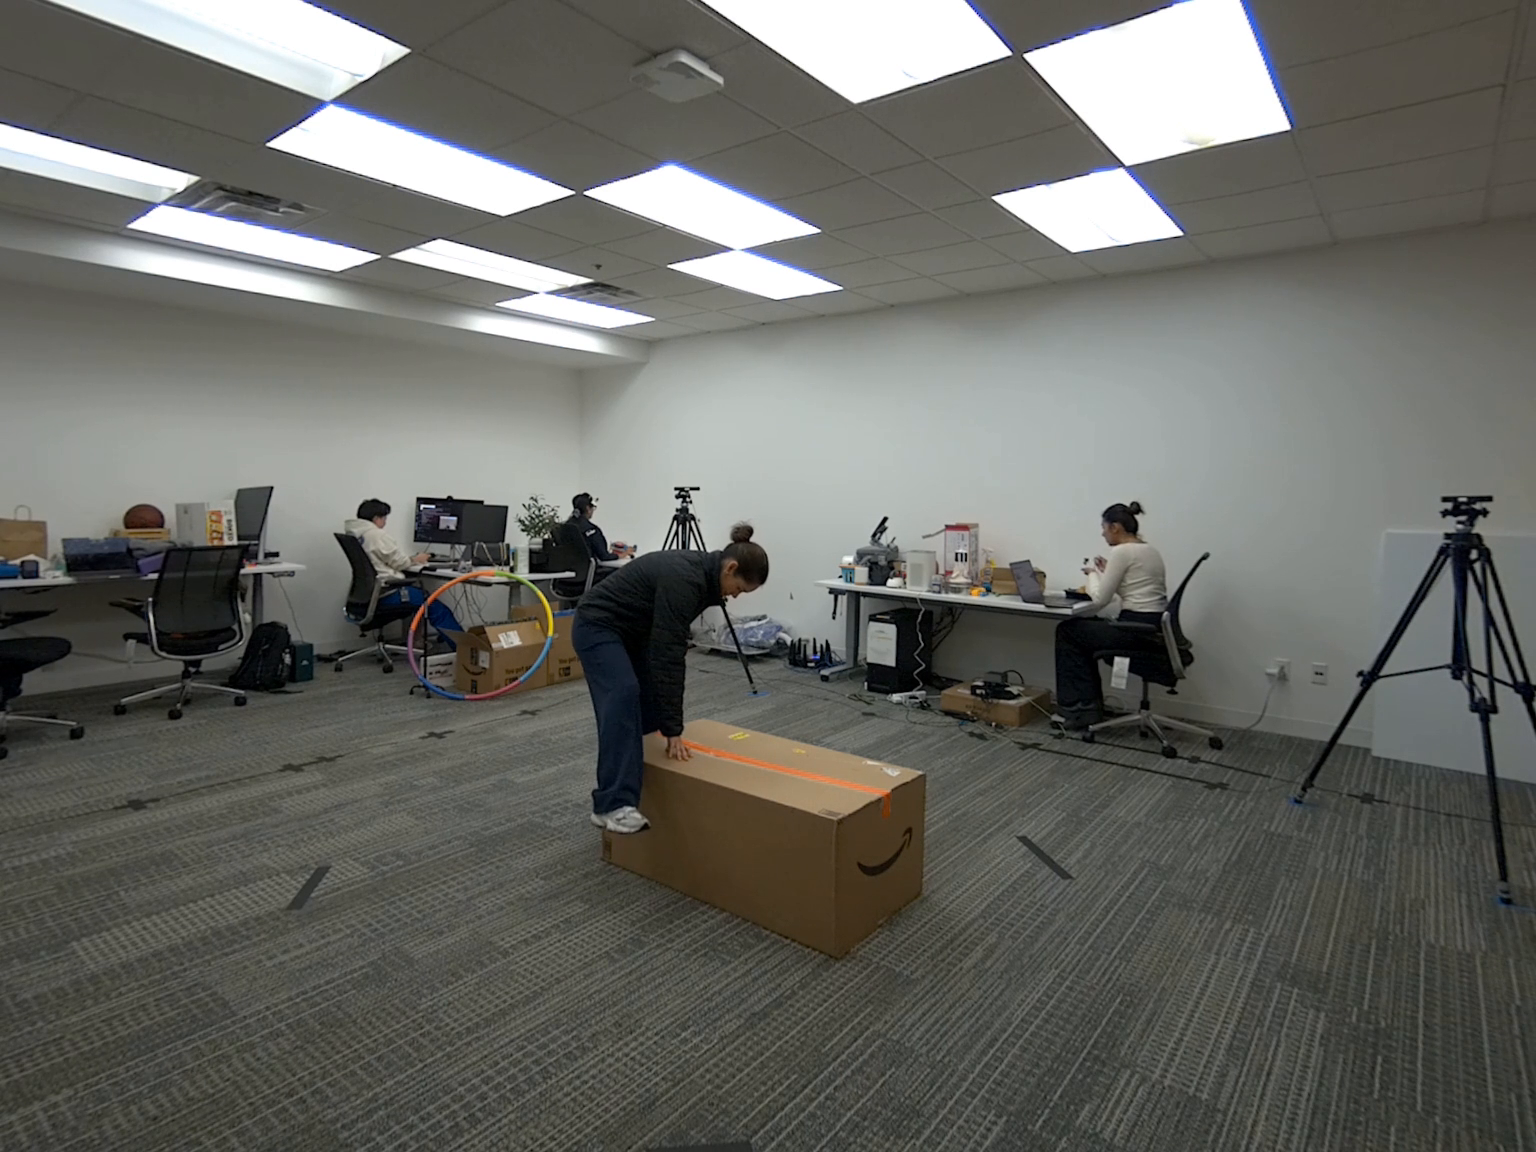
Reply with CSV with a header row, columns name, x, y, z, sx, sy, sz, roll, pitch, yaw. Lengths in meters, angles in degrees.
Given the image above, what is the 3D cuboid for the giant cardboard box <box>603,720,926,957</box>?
name,x,y,z,sx,sy,sz,roll,pitch,yaw
giant cardboard box,-0.021,0.867,3.059,1.062,0.445,0.567,6,8,39
